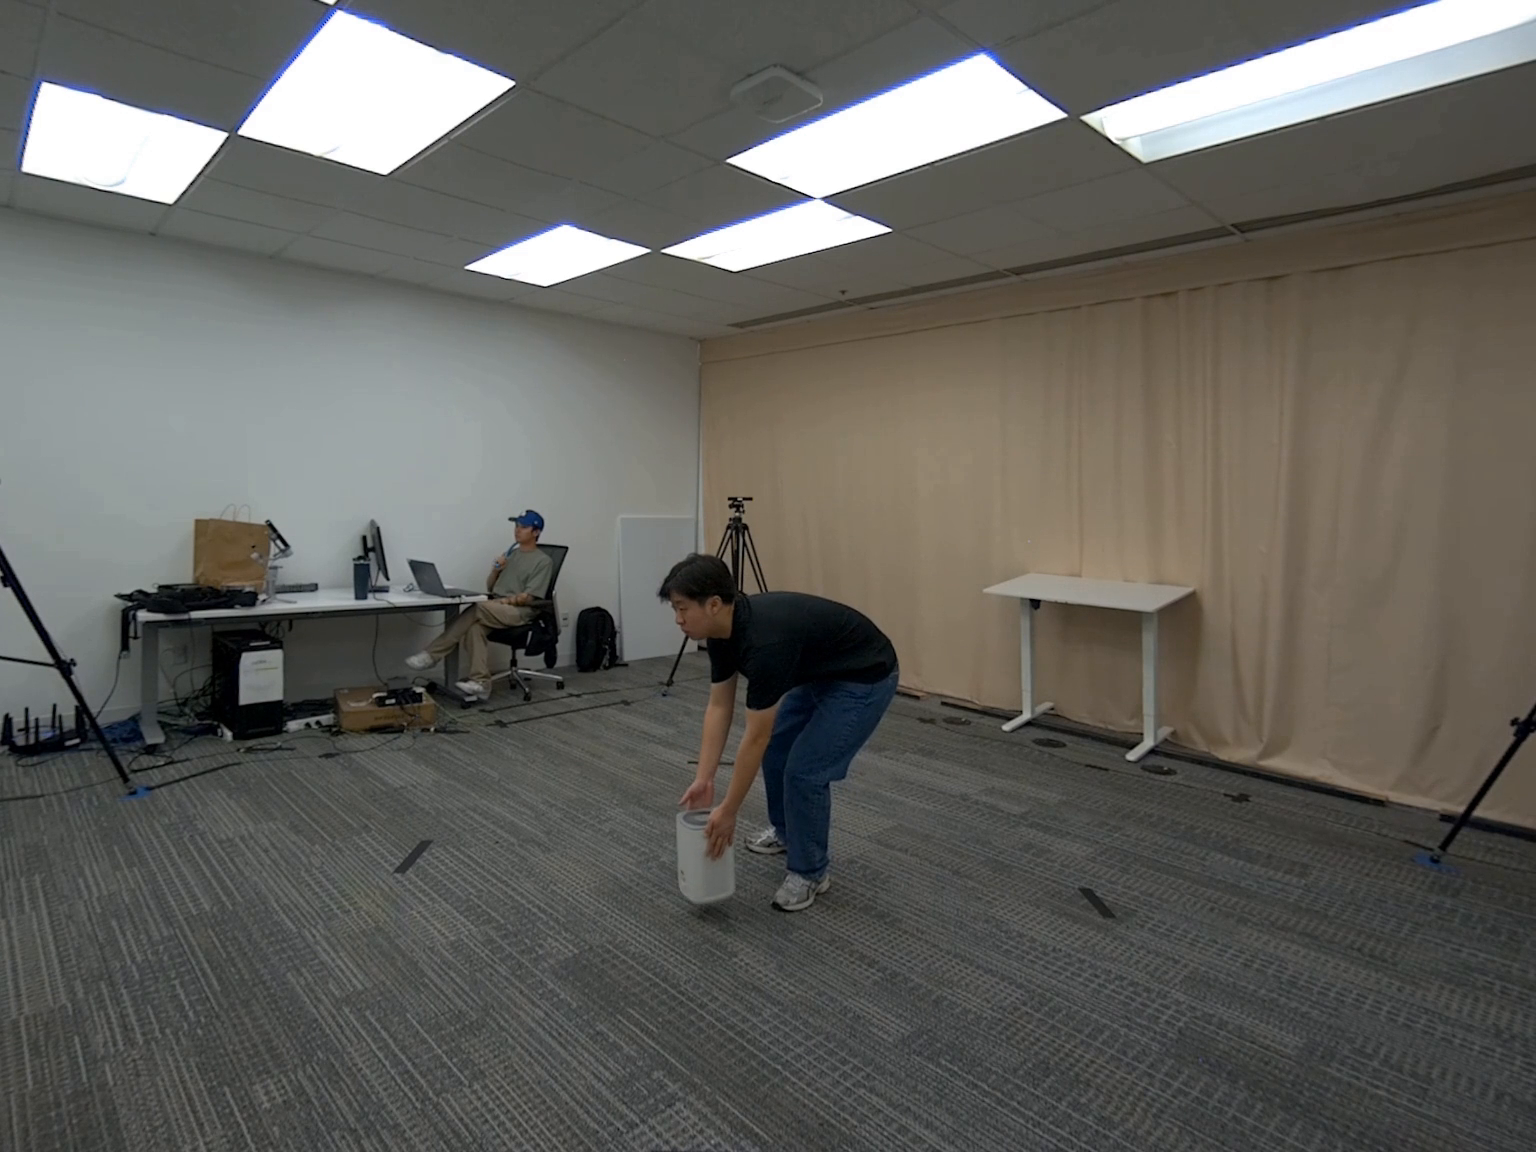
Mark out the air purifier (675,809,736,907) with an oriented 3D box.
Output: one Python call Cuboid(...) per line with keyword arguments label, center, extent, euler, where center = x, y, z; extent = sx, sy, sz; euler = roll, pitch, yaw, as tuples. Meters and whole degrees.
Cuboid(label="air purifier", center=(-0.210, 0.934, 2.811), extent=(0.168, 0.265, 0.175), euler=(-3, 4, -32))
